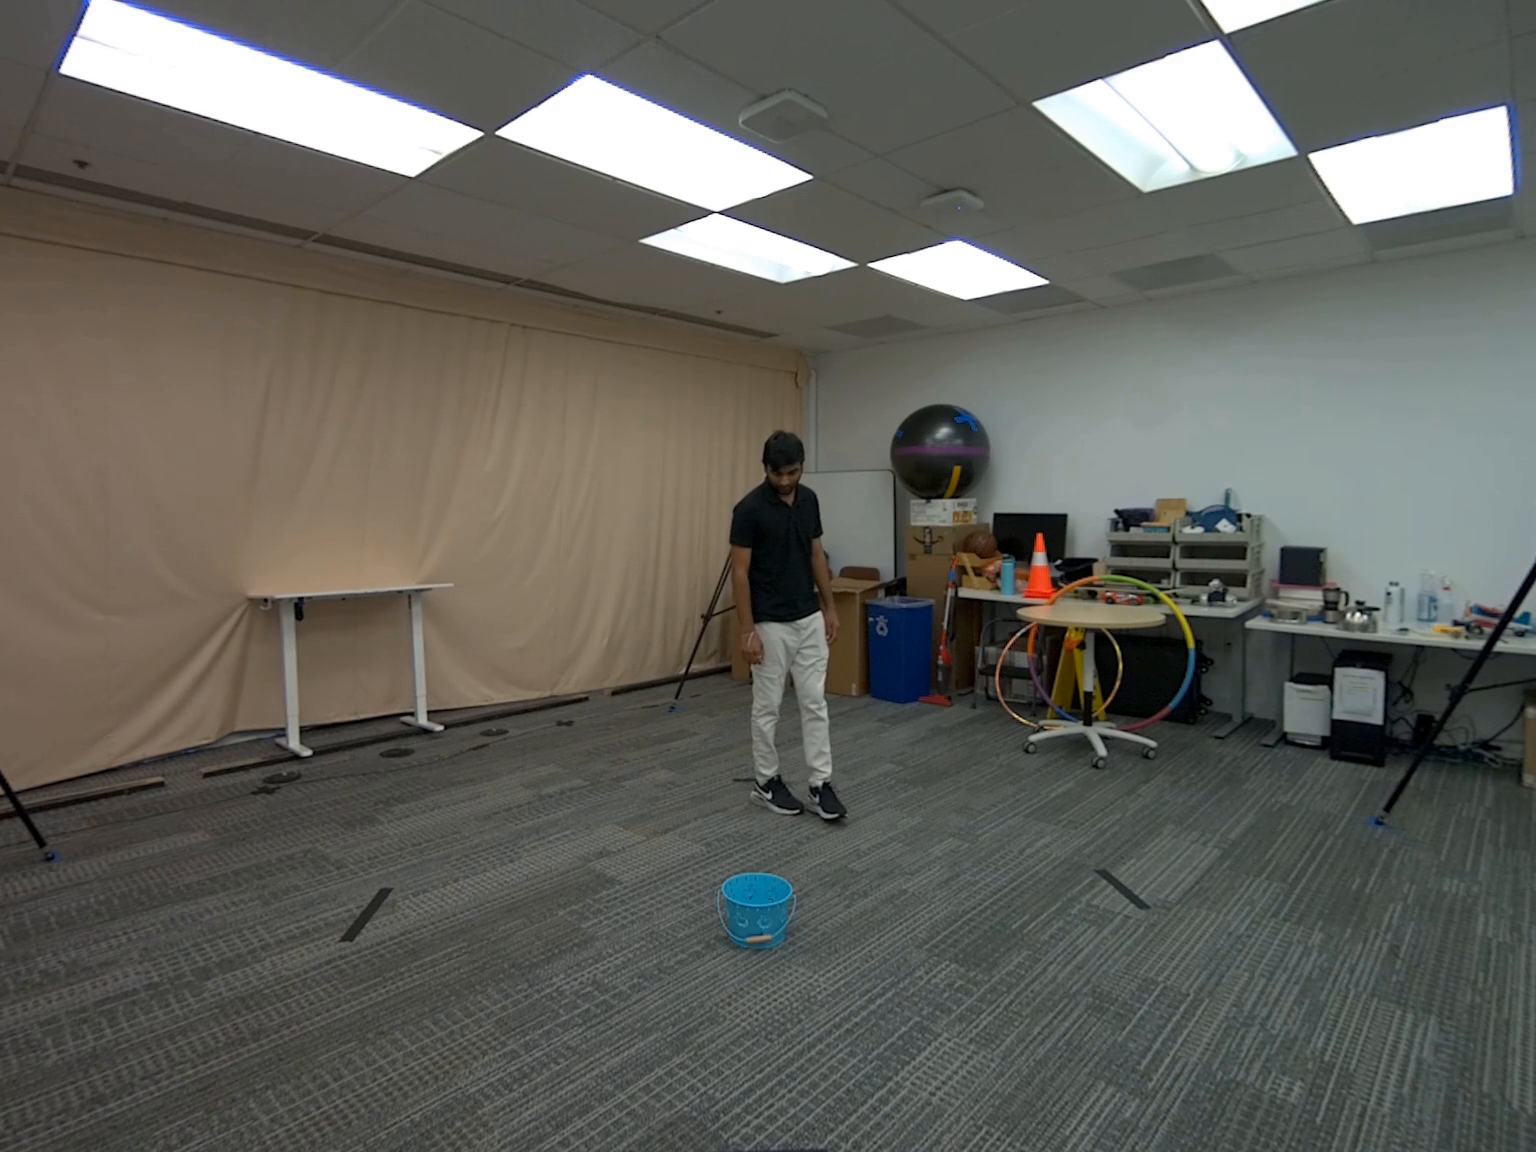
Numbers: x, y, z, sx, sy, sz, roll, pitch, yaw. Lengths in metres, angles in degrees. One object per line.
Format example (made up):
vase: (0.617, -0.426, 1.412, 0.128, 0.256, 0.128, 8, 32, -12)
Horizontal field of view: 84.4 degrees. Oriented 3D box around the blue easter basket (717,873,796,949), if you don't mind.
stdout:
blue easter basket: (-0.037, 1.087, 2.727, 0.243, 0.155, 0.244, 0, 4, -2)
